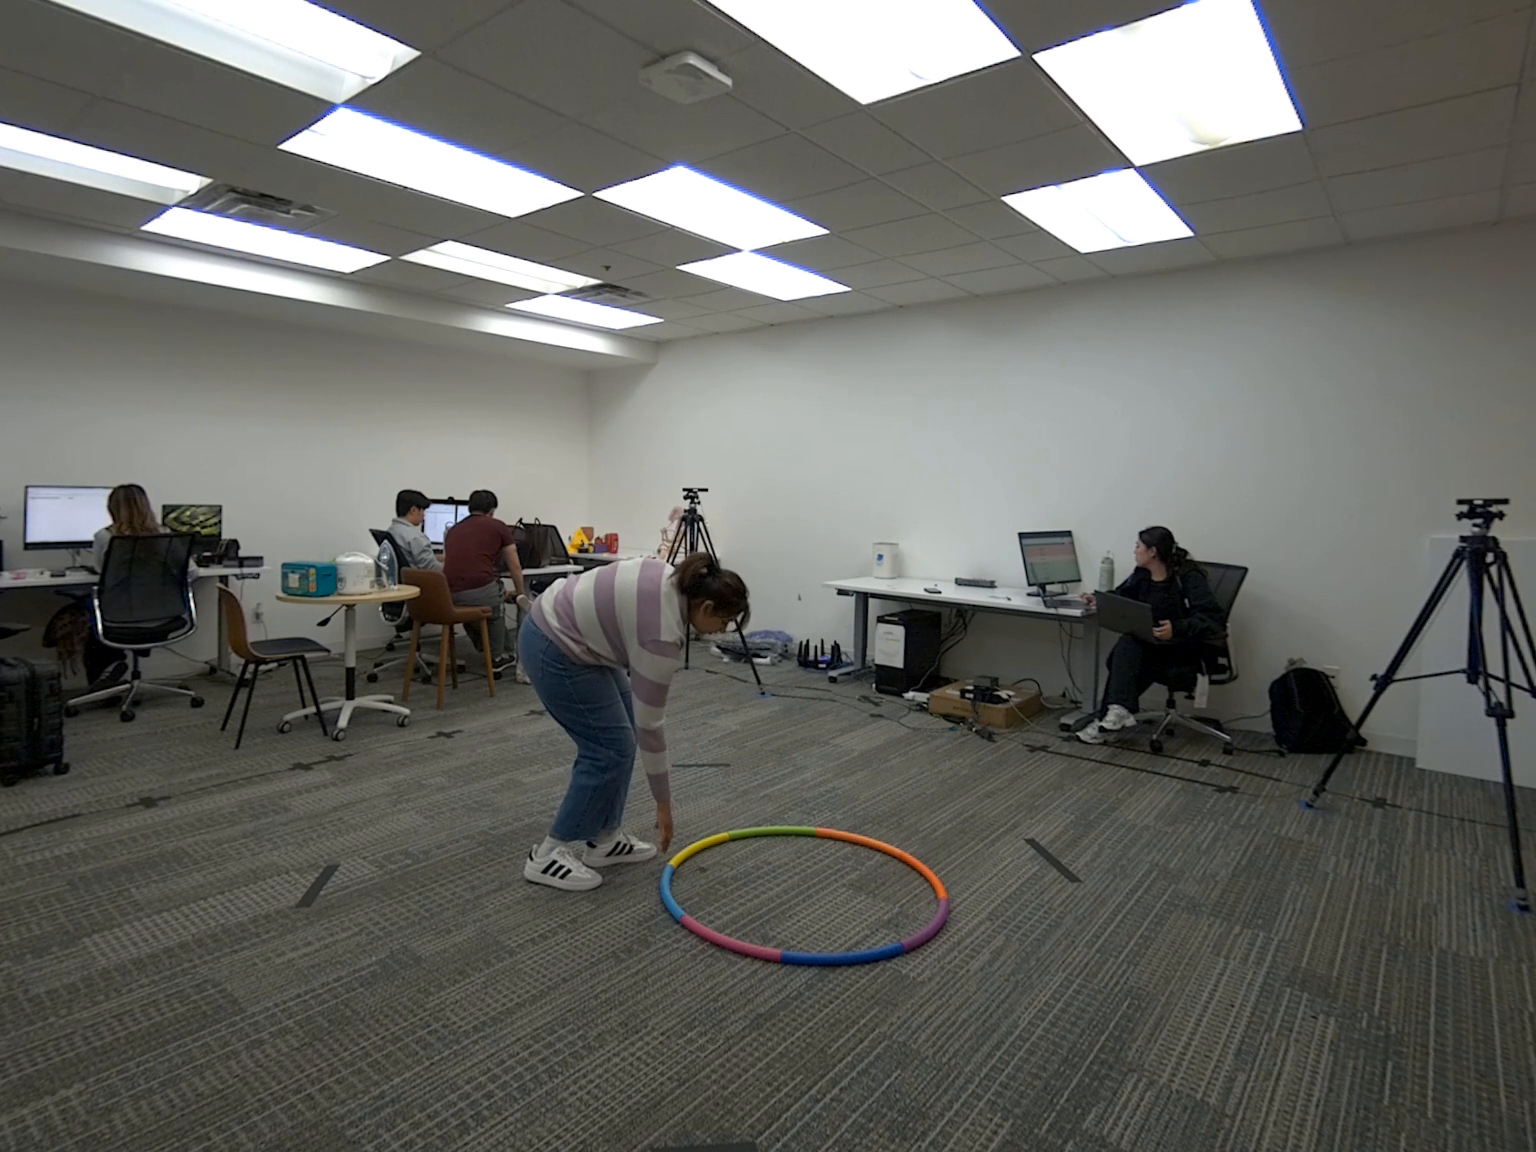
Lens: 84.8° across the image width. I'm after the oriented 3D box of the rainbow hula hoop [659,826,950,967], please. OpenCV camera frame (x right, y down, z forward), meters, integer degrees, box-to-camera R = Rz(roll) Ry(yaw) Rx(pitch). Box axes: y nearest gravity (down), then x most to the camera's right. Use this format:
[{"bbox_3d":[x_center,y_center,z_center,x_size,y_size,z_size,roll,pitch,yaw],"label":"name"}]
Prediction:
[{"bbox_3d":[0.107,1.056,2.972,0.978,0.035,0.985,1,6,-2],"label":"rainbow hula hoop"}]
